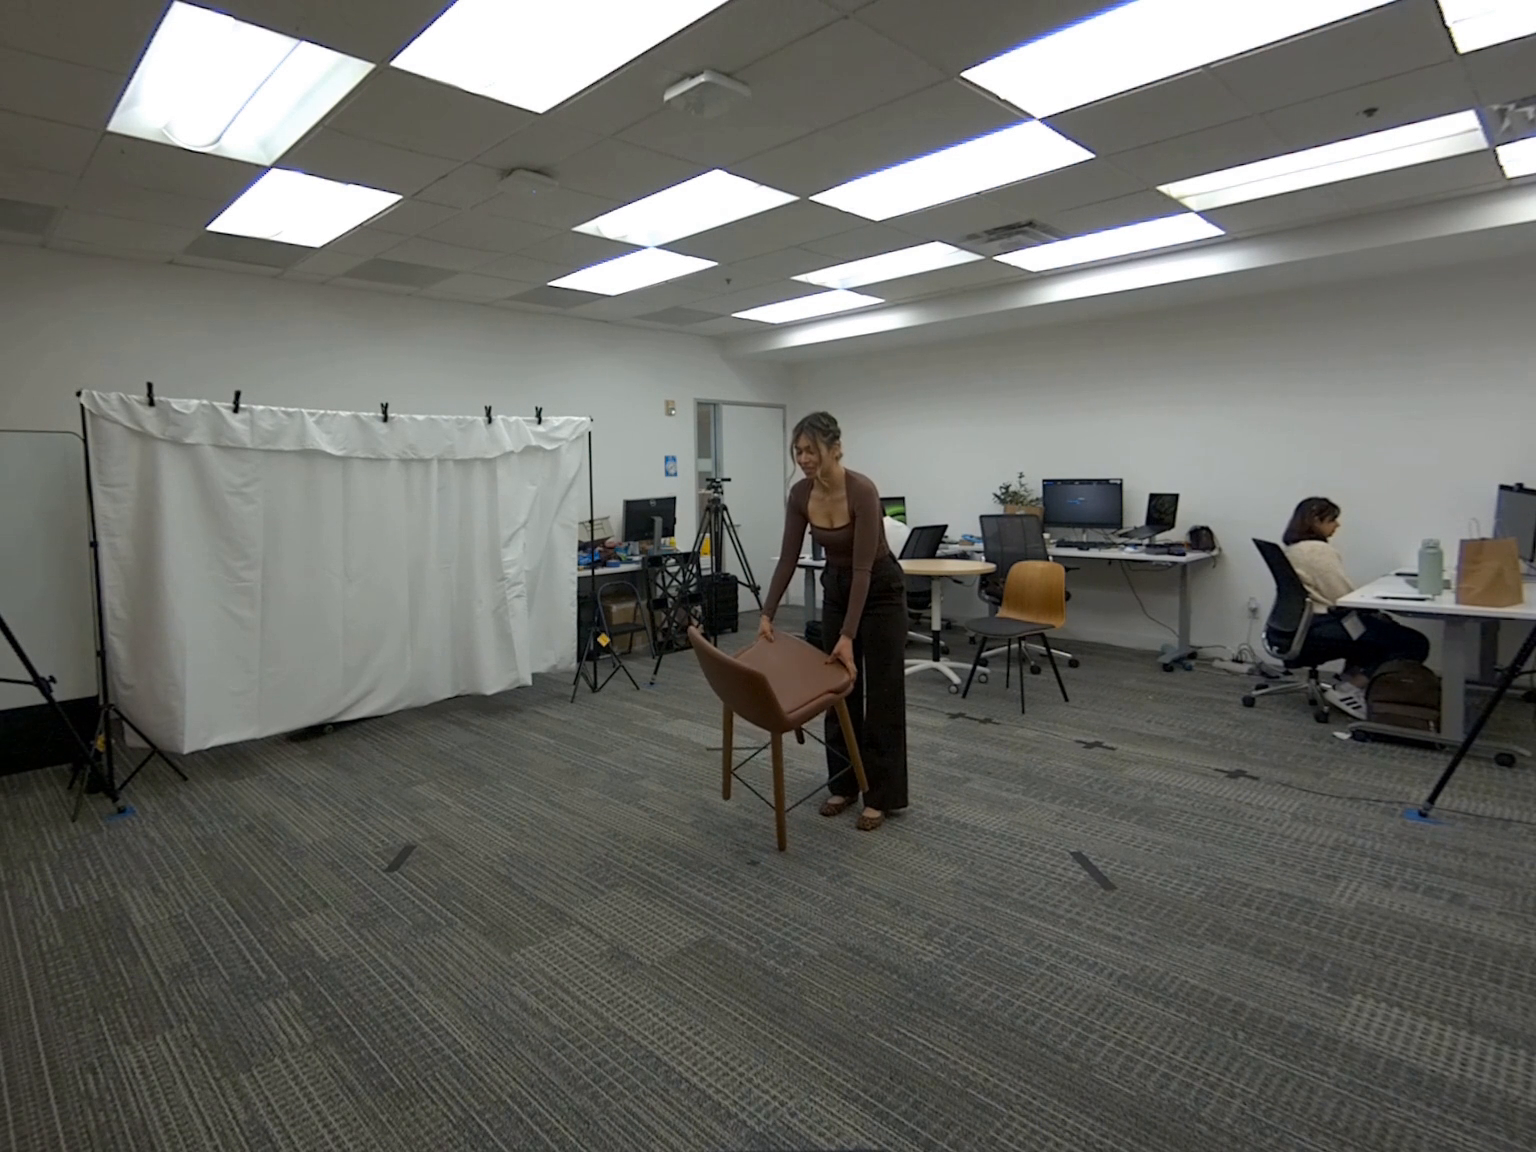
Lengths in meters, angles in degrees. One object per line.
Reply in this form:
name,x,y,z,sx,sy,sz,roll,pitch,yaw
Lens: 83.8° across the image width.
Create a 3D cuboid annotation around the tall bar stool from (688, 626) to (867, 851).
tall bar stool,0.041,0.516,3.227,0.463,0.865,0.474,-29,35,-28
